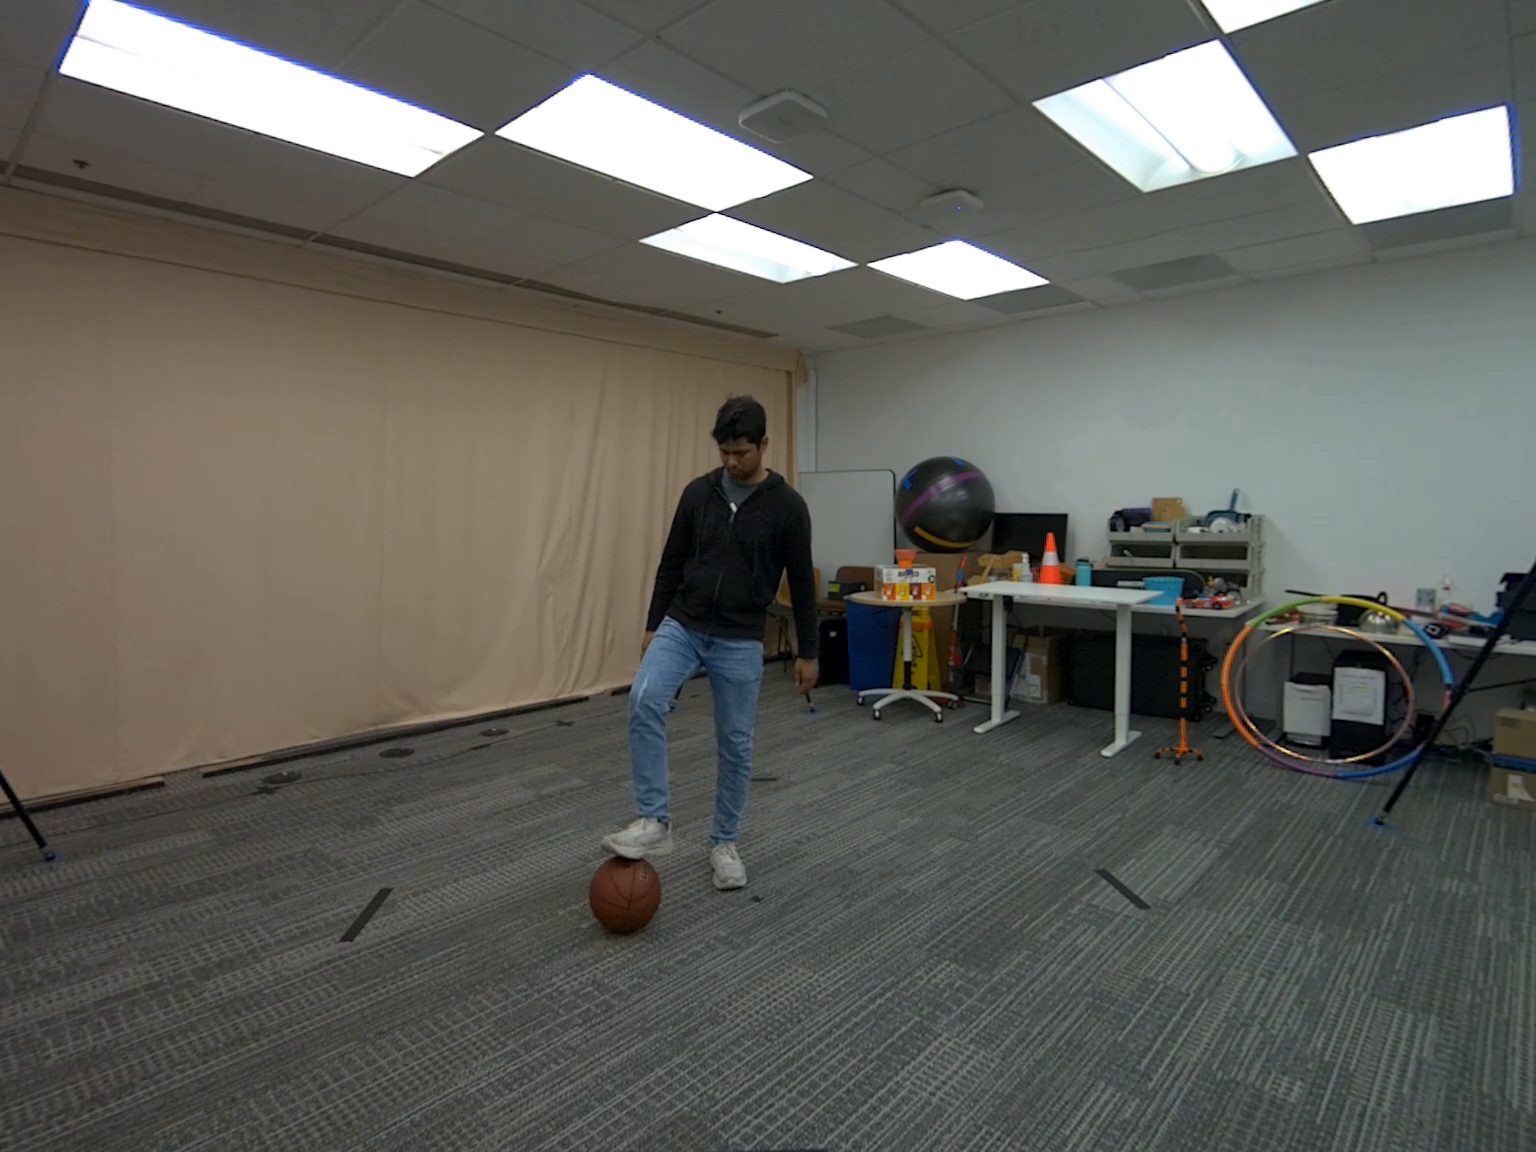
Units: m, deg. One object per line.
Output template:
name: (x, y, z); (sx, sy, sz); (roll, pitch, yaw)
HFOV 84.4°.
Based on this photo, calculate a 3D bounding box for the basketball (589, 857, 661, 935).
basketball: (-0.475, 1.046, 2.781); (0.236, 0.235, 0.237); (0, 4, -2)
